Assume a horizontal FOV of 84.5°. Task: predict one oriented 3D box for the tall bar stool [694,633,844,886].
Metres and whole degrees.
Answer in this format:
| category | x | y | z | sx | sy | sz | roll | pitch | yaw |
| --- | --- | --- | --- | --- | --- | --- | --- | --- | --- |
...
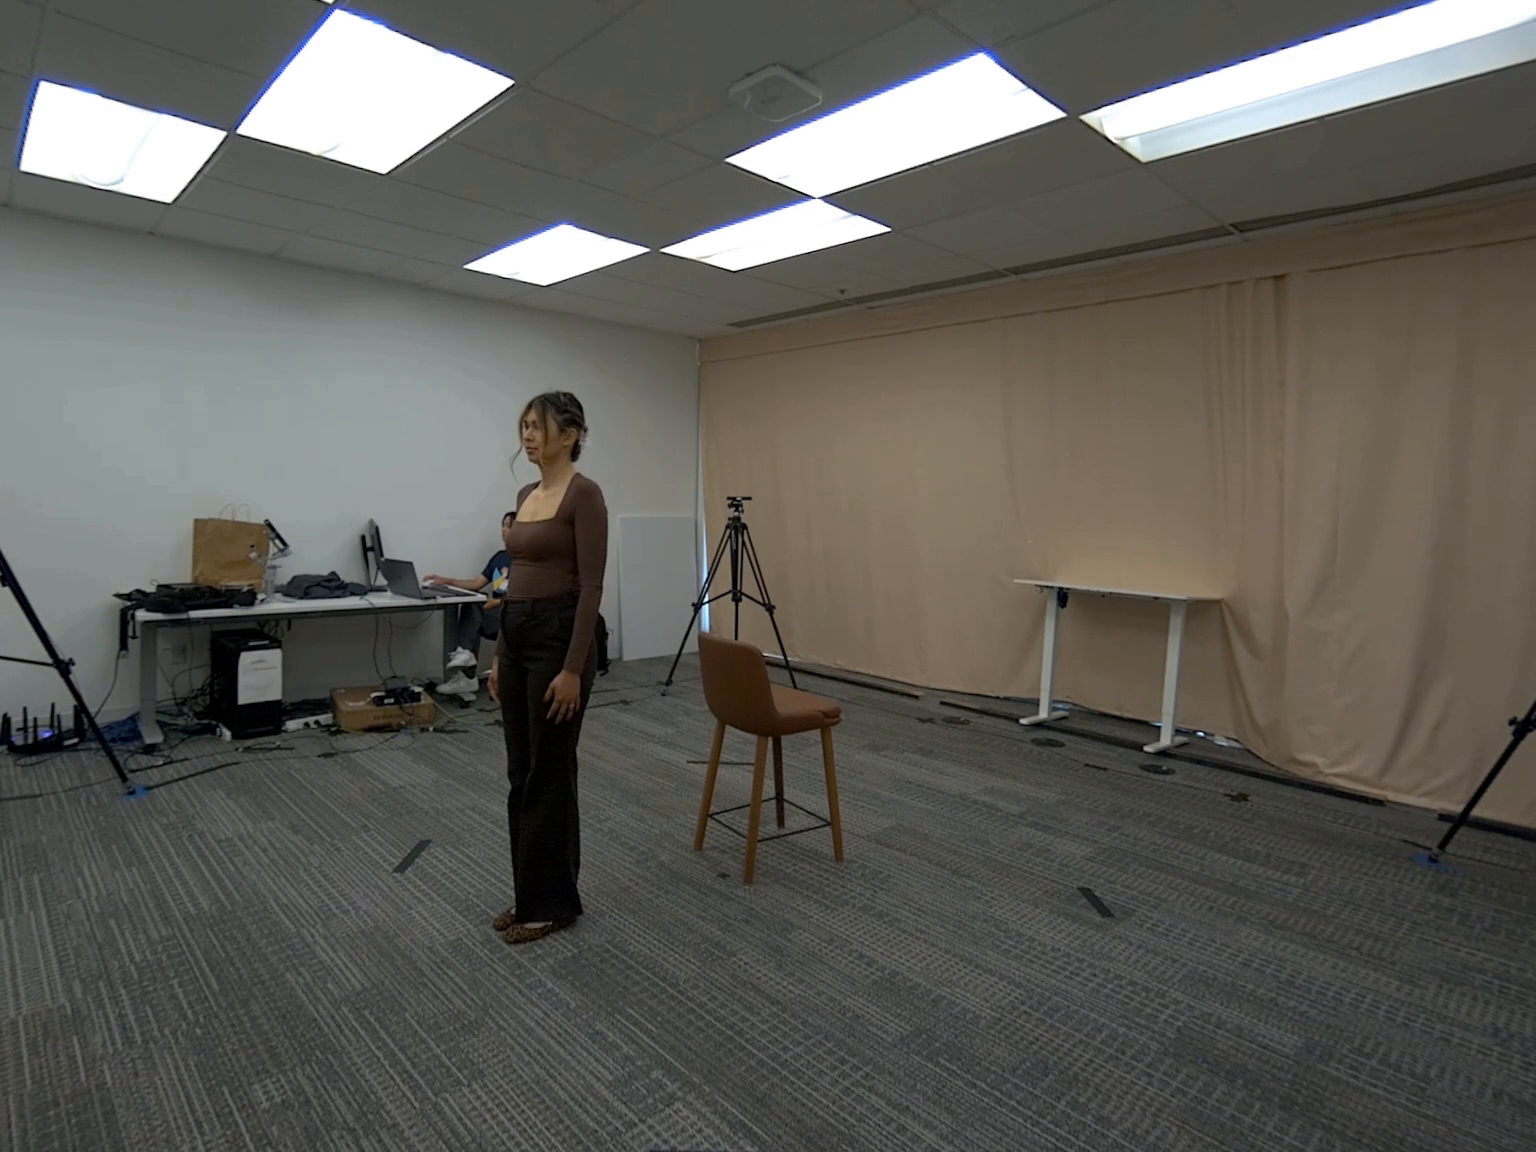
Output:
| category | x | y | z | sx | sy | sz | roll | pitch | yaw |
| --- | --- | --- | --- | --- | --- | --- | --- | --- | --- |
| tall bar stool | -0.004 | 0.658 | 3.279 | 0.458 | 0.887 | 0.467 | -3 | 5 | -35 |
